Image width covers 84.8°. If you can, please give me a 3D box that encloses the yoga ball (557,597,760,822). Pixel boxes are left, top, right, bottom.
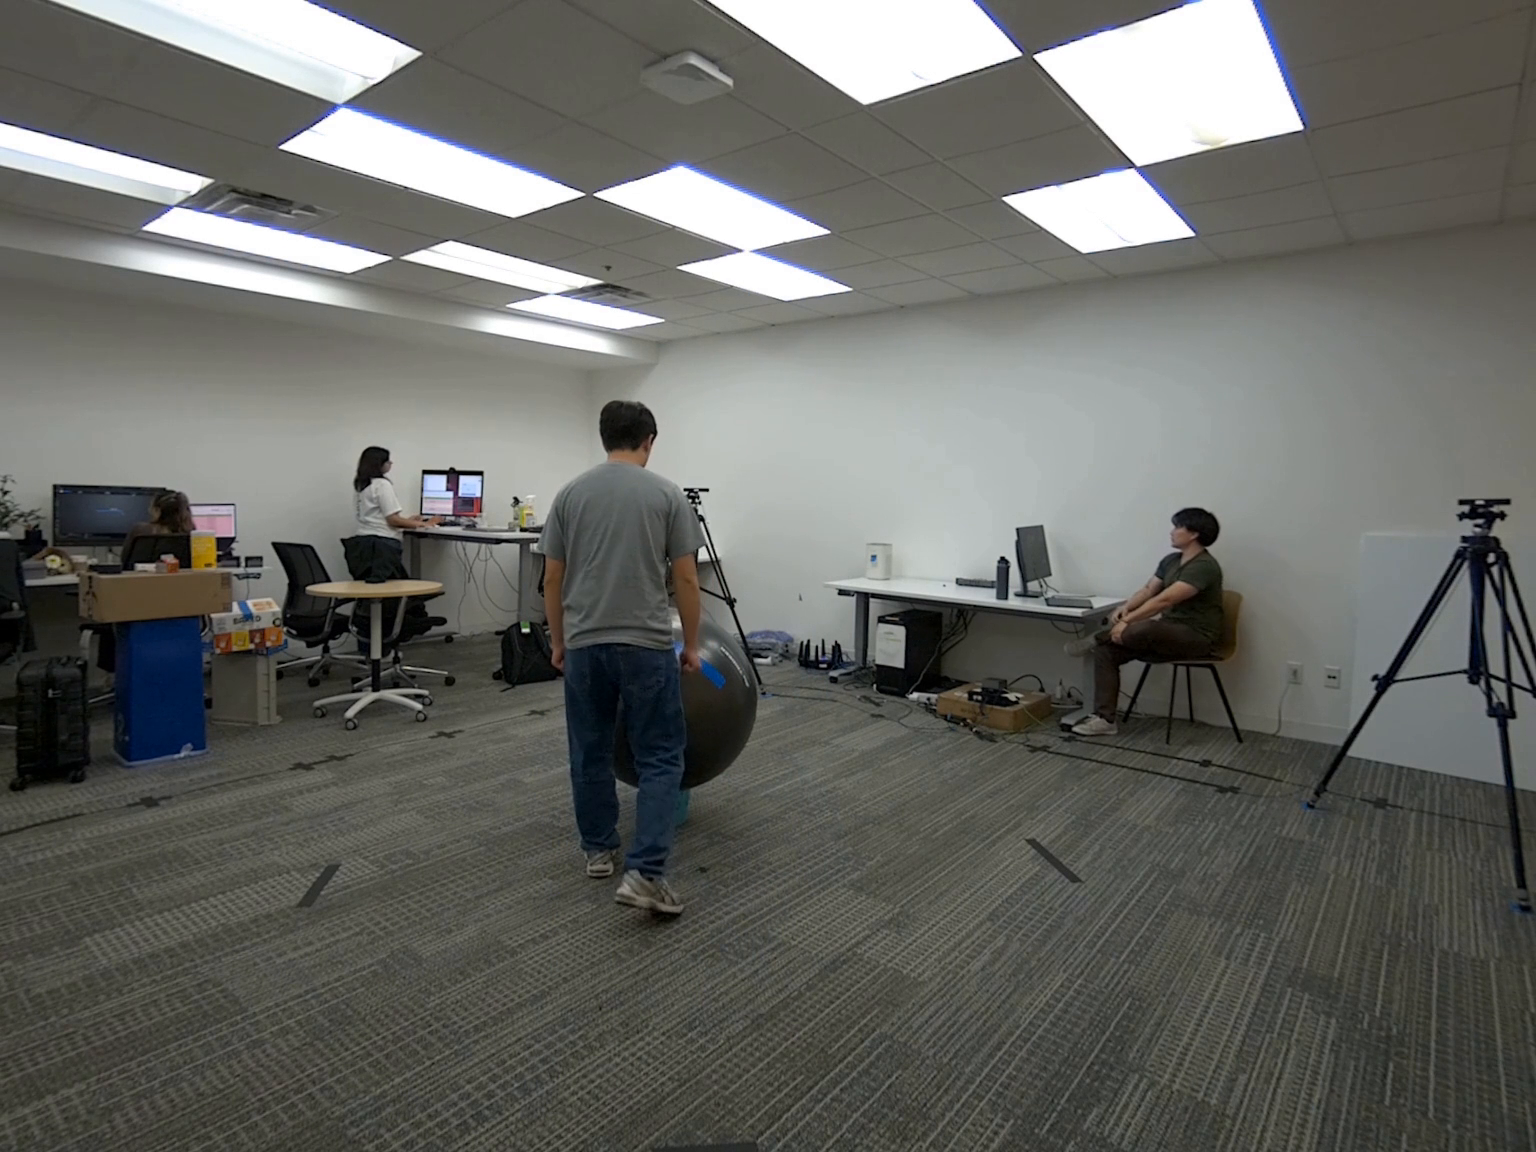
[{"bbox_3d":[-0.442,0.510,3.555,0.757,0.756,0.761,1,4,-2],"label":"yoga ball"}]
